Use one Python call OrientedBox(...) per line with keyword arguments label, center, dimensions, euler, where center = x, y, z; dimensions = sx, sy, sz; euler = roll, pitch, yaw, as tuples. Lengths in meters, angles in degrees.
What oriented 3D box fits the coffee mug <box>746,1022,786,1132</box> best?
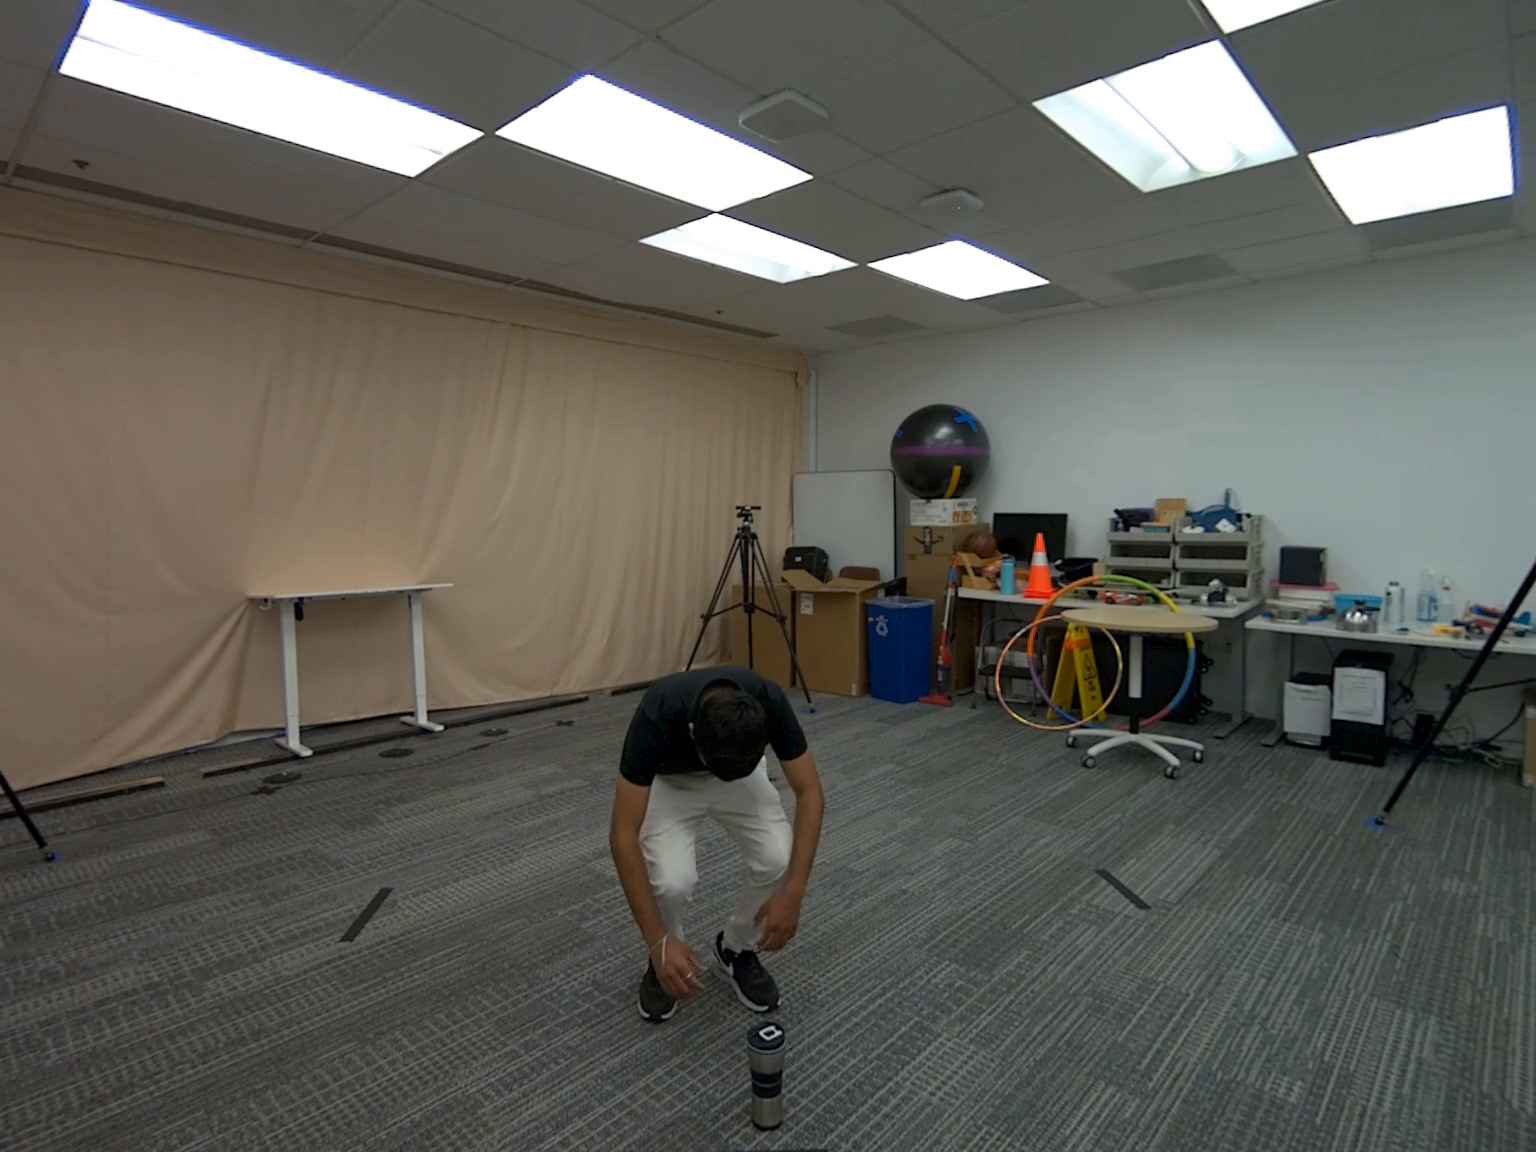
OrientedBox(label="coffee mug", center=(0.009, 1.131, 1.922), dimensions=(0.090, 0.202, 0.118), euler=(-4, 4, 36))
